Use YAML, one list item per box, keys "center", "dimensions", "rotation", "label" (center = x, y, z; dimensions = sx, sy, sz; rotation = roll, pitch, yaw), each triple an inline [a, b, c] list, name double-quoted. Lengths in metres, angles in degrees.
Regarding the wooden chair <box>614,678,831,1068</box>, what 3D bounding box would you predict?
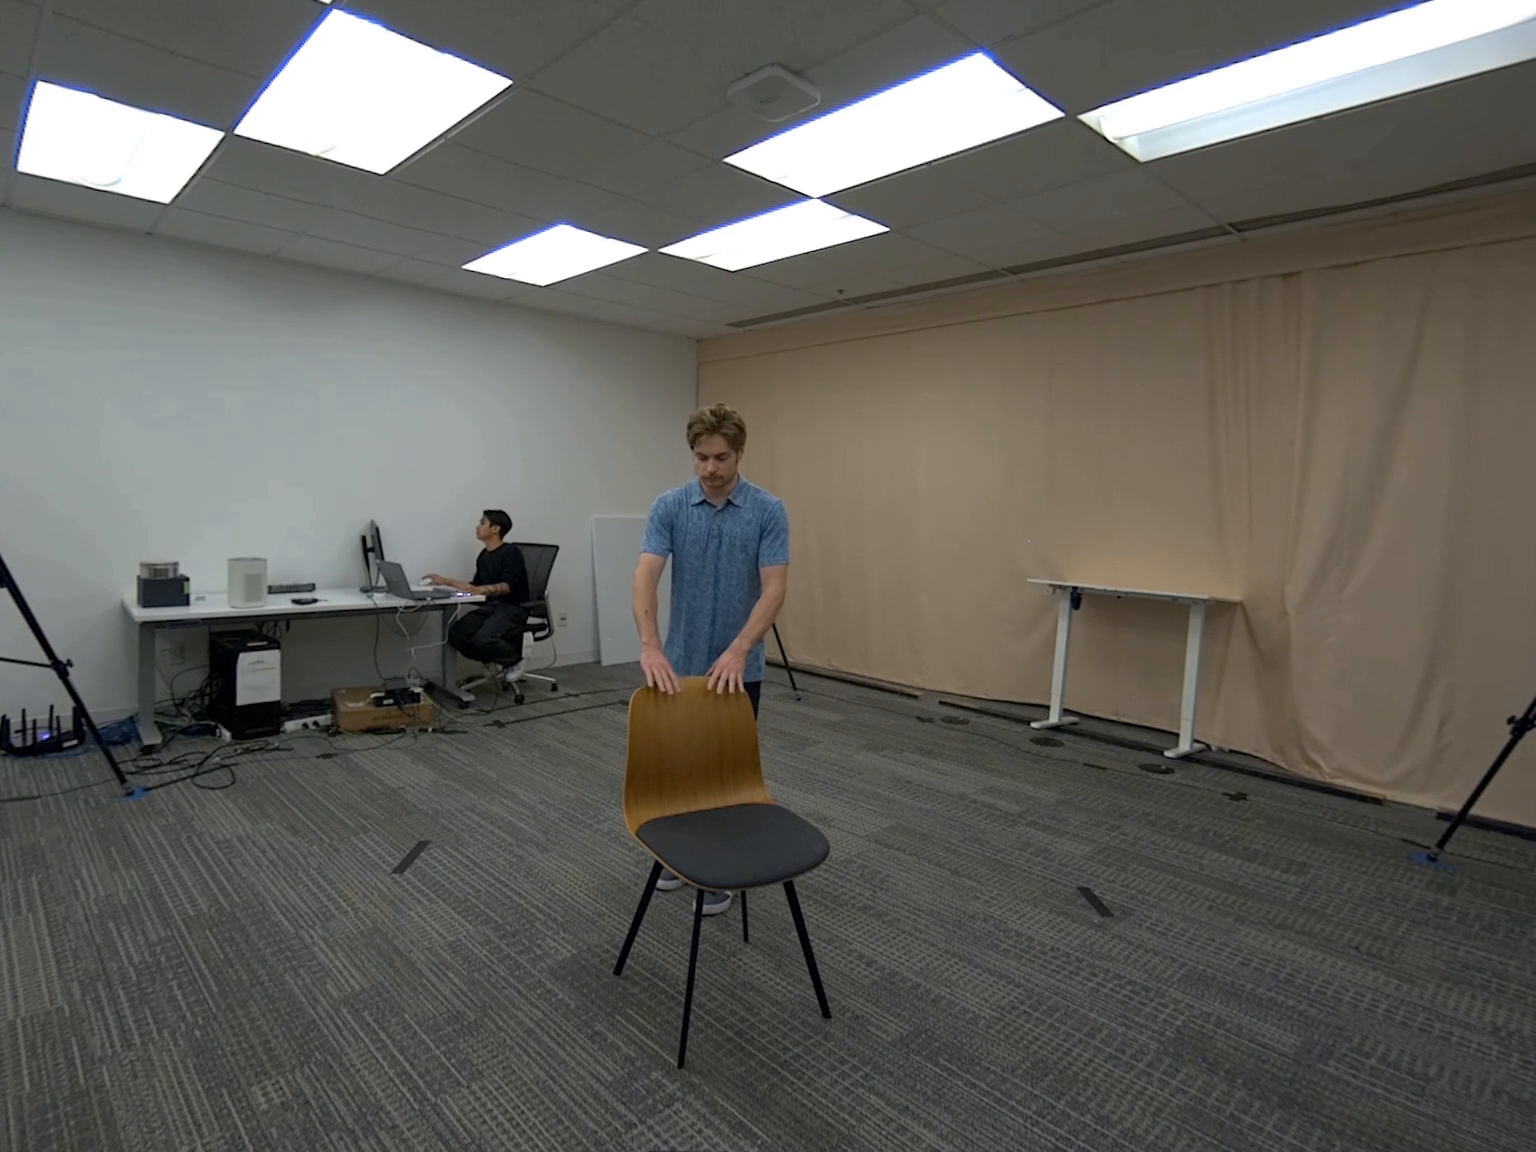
- center: [-0.131, 0.754, 2.311]
  dimensions: [0.468, 0.878, 0.534]
  rotation: [0, 0, -30]
  label: "wooden chair"
